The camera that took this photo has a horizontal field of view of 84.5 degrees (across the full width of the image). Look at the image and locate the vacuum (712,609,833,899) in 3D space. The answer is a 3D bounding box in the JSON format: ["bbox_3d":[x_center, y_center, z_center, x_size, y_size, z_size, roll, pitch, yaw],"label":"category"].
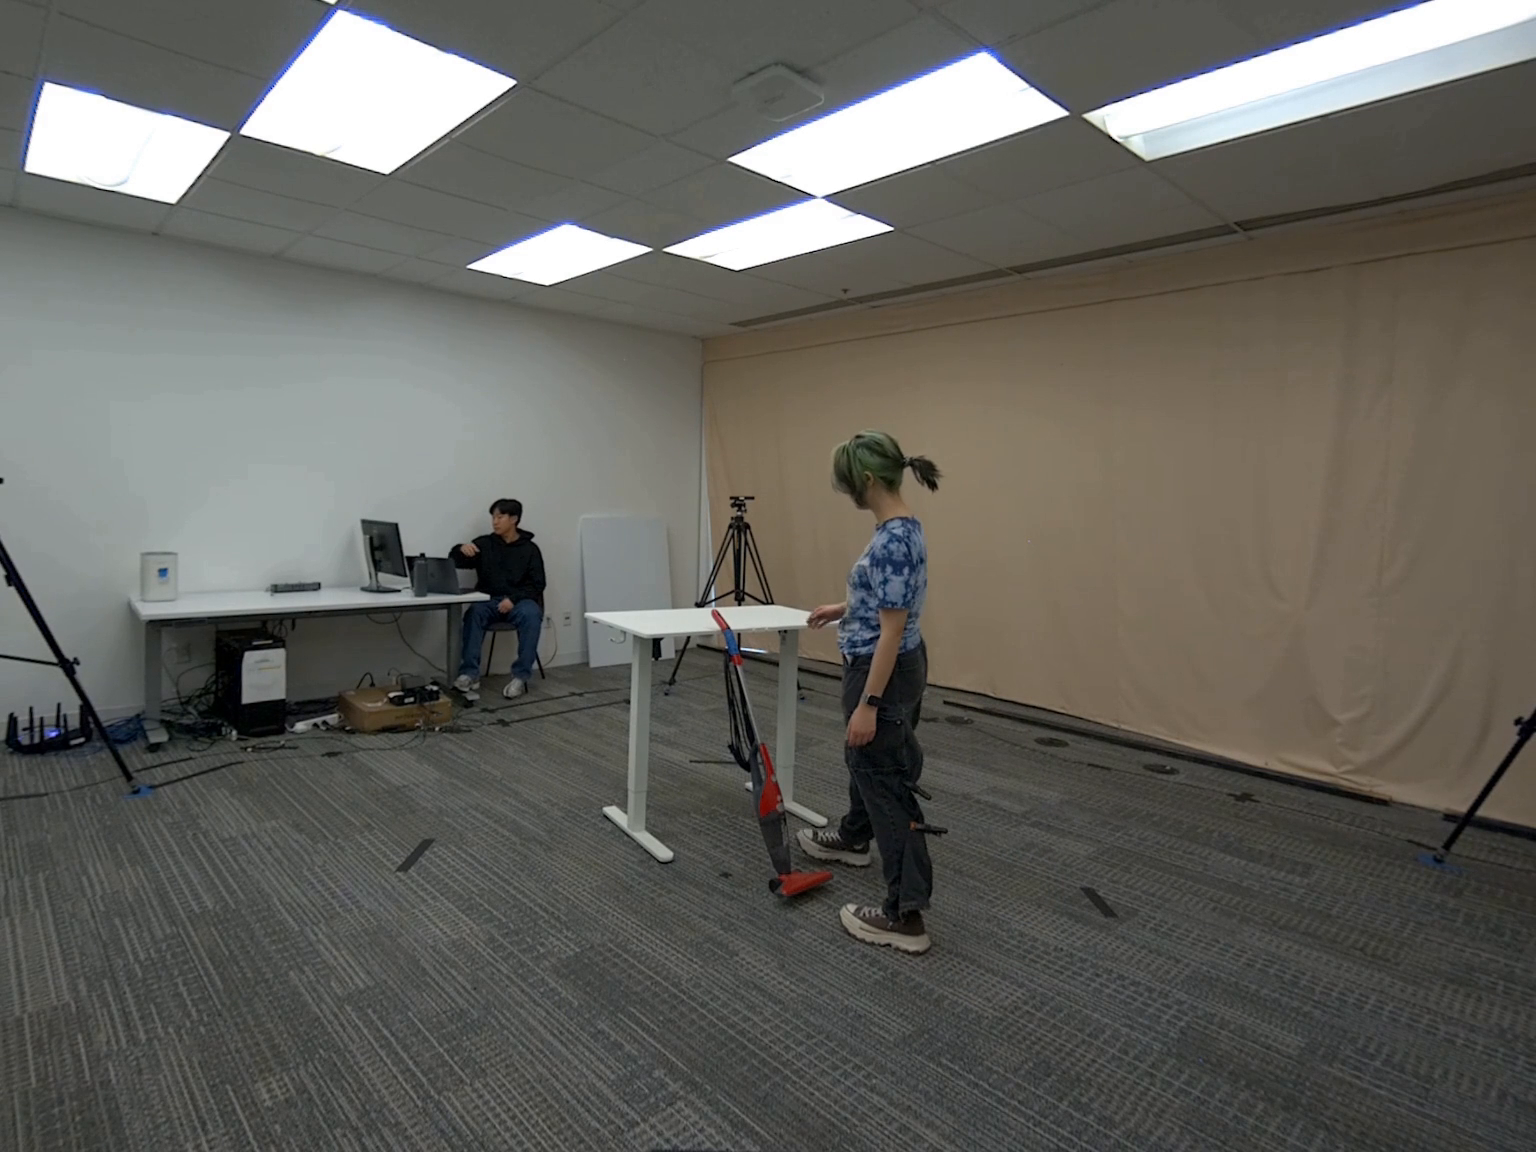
[{"bbox_3d":[-0.065,0.629,3.121,0.145,1.066,0.246,-32,-22,37],"label":"vacuum"}]
